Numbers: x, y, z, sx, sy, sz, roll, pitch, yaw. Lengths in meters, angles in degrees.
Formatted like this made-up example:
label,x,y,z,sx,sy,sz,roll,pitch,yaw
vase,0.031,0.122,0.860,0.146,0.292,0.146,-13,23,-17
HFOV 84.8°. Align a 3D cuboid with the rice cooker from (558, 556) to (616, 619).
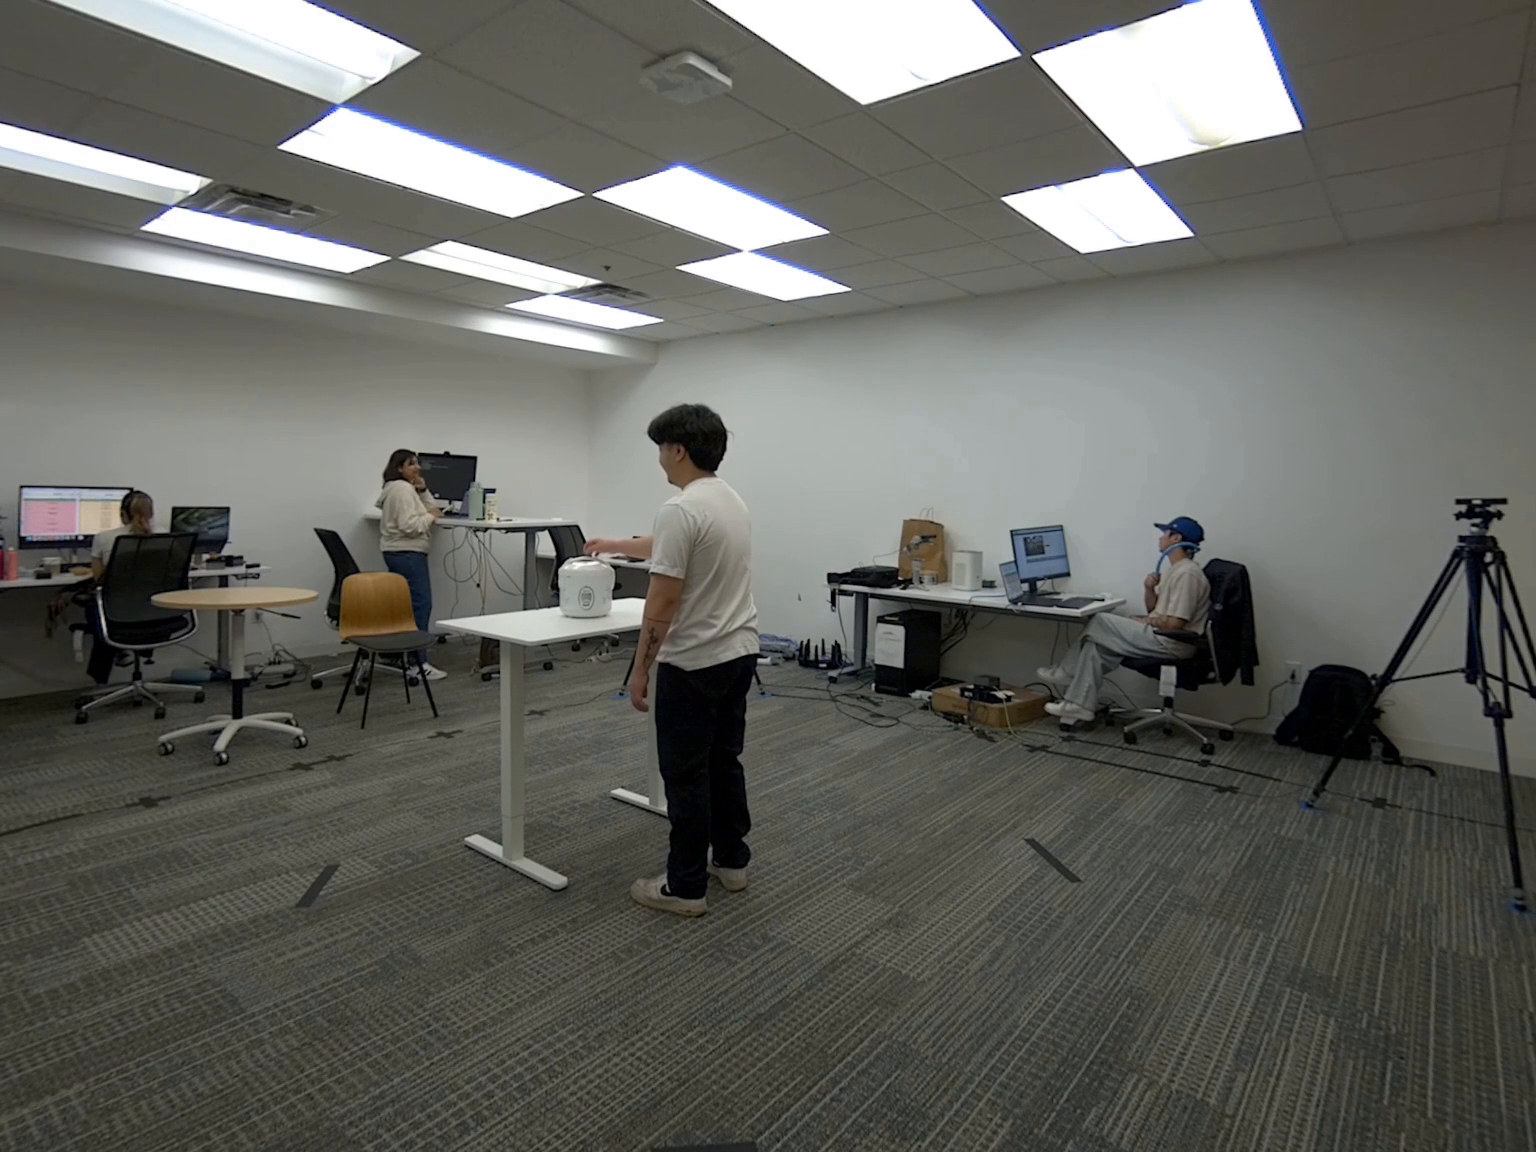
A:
label,x,y,z,sx,sy,sz,roll,pitch,yaw
rice cooker,-0.732,0.038,3.368,0.218,0.232,0.220,-1,4,-10
